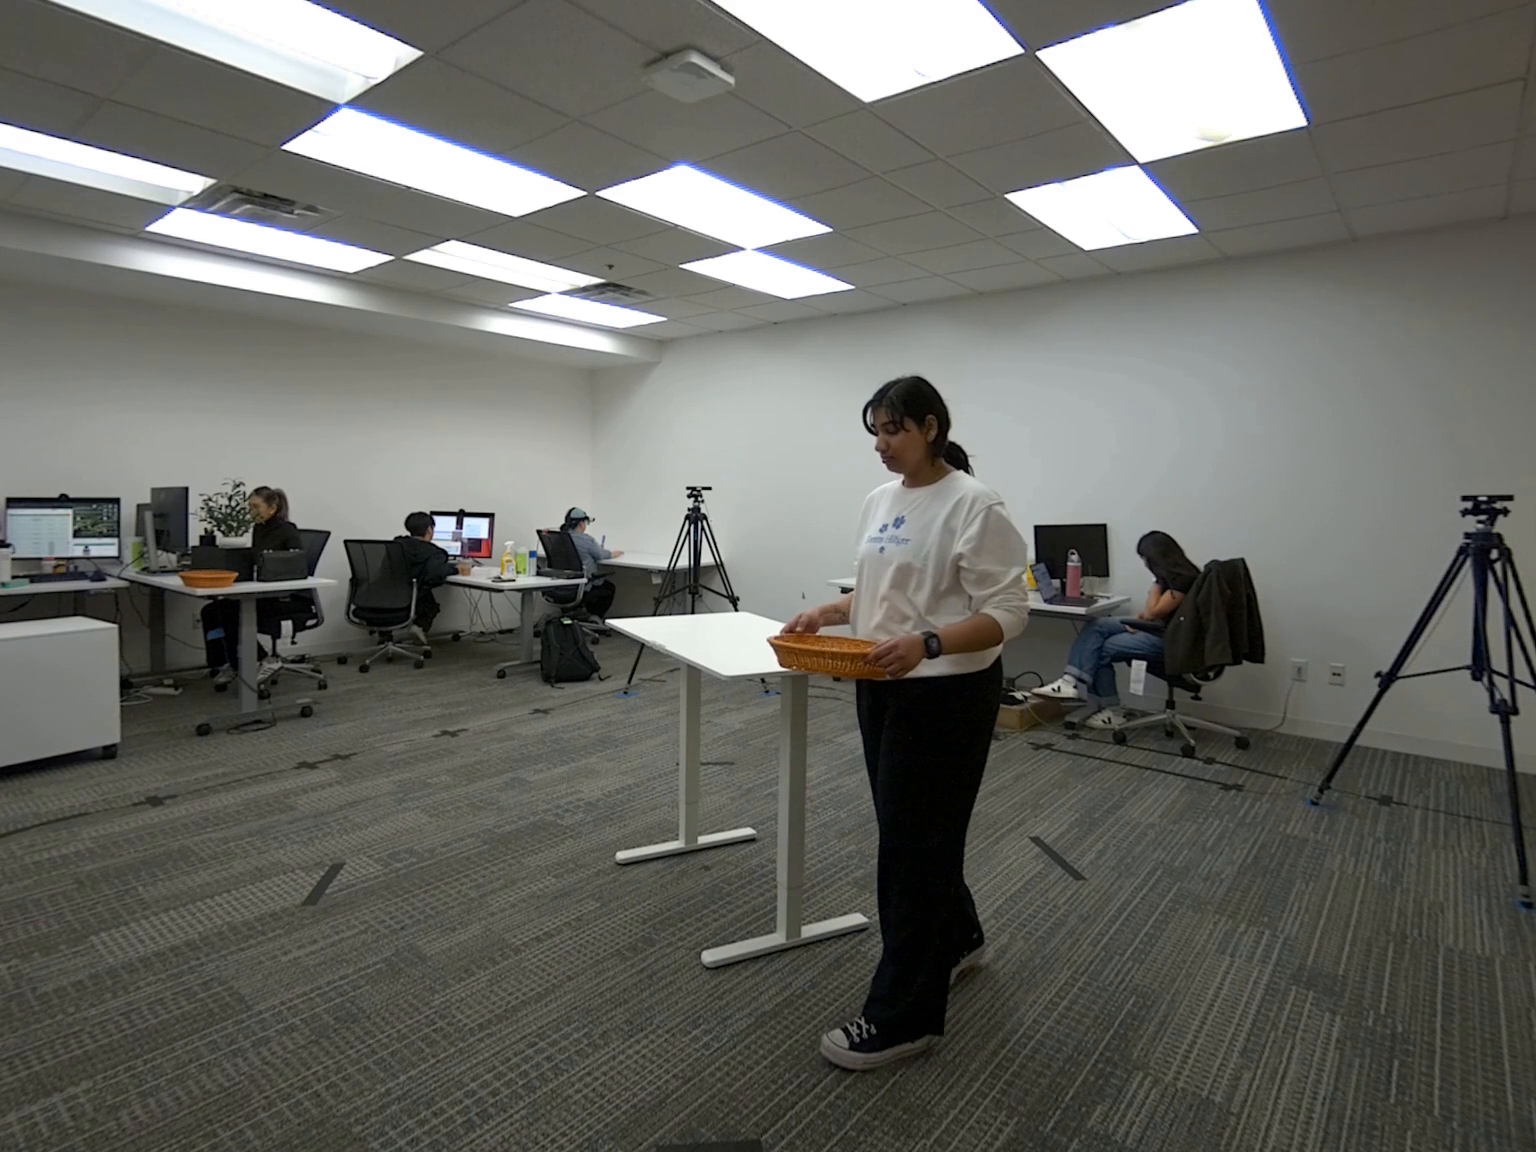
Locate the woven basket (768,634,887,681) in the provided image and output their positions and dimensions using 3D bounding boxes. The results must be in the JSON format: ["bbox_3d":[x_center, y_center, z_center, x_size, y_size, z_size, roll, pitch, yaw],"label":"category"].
[{"bbox_3d":[0.175,0.197,2.071,0.362,0.073,0.244,3,2,43],"label":"woven basket"}]
